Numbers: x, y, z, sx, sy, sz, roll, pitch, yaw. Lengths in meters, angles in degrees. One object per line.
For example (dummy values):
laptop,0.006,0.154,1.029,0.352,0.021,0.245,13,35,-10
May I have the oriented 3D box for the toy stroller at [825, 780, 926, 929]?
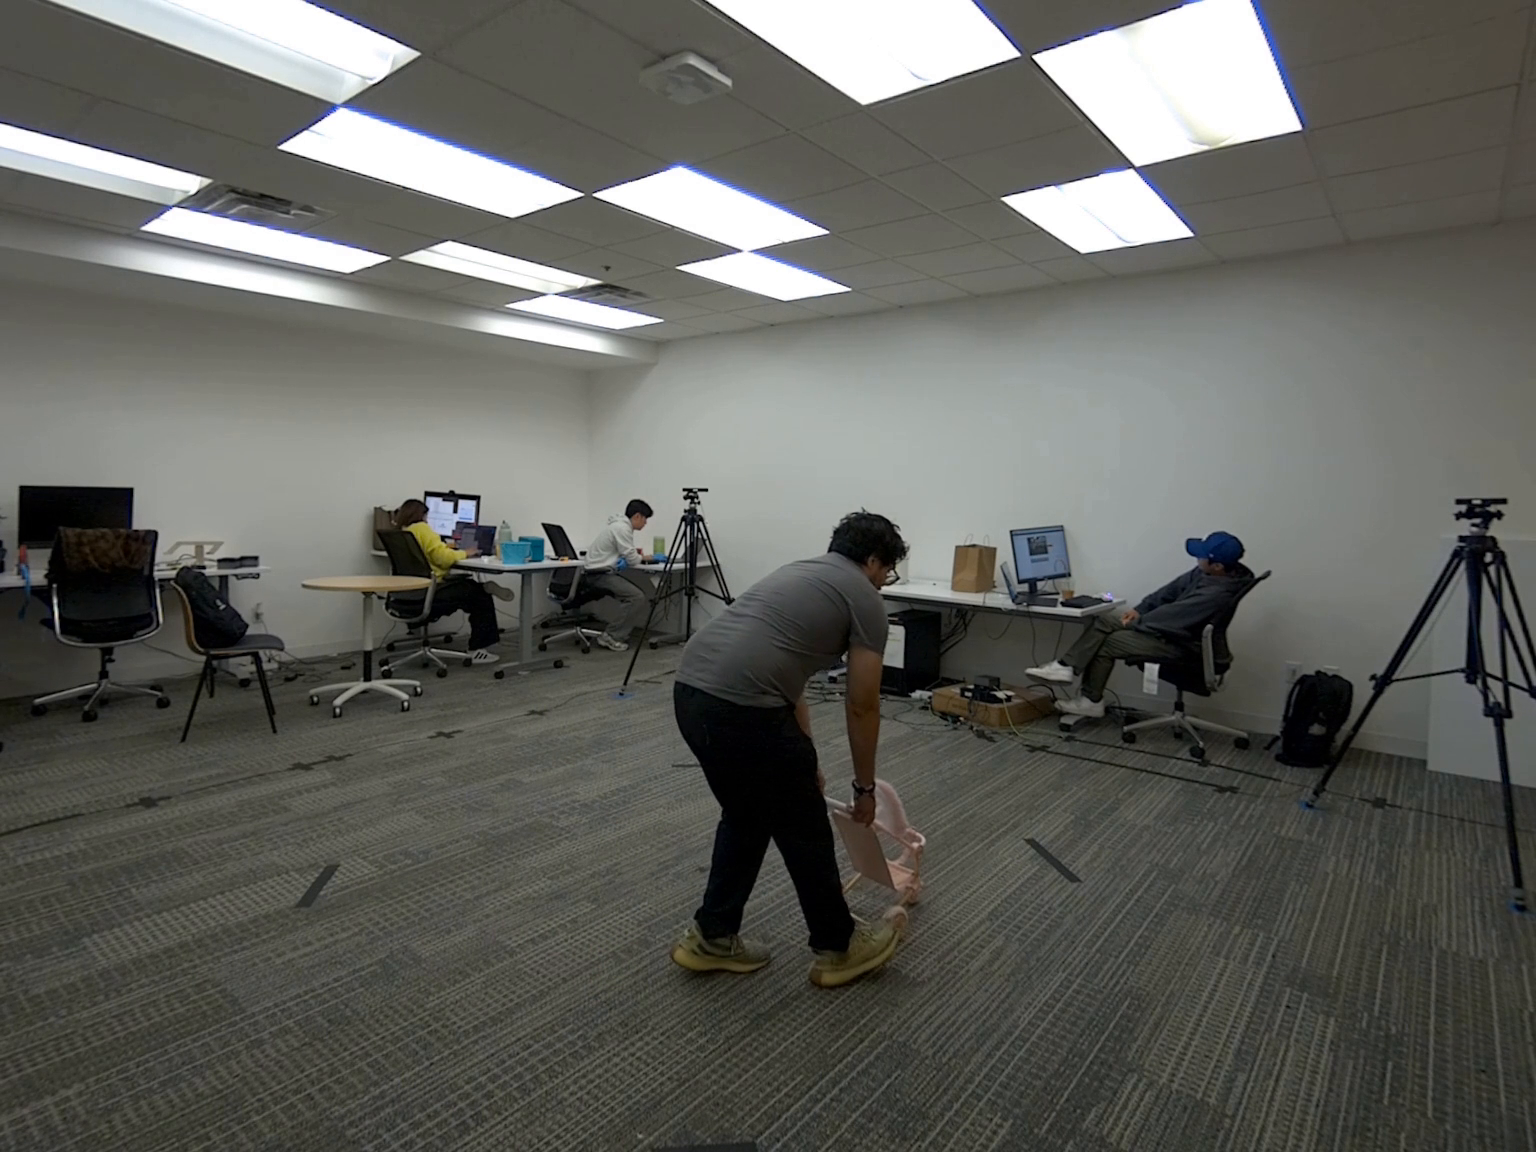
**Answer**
toy stroller,0.349,0.888,2.757,0.335,0.527,0.291,-20,16,-36
